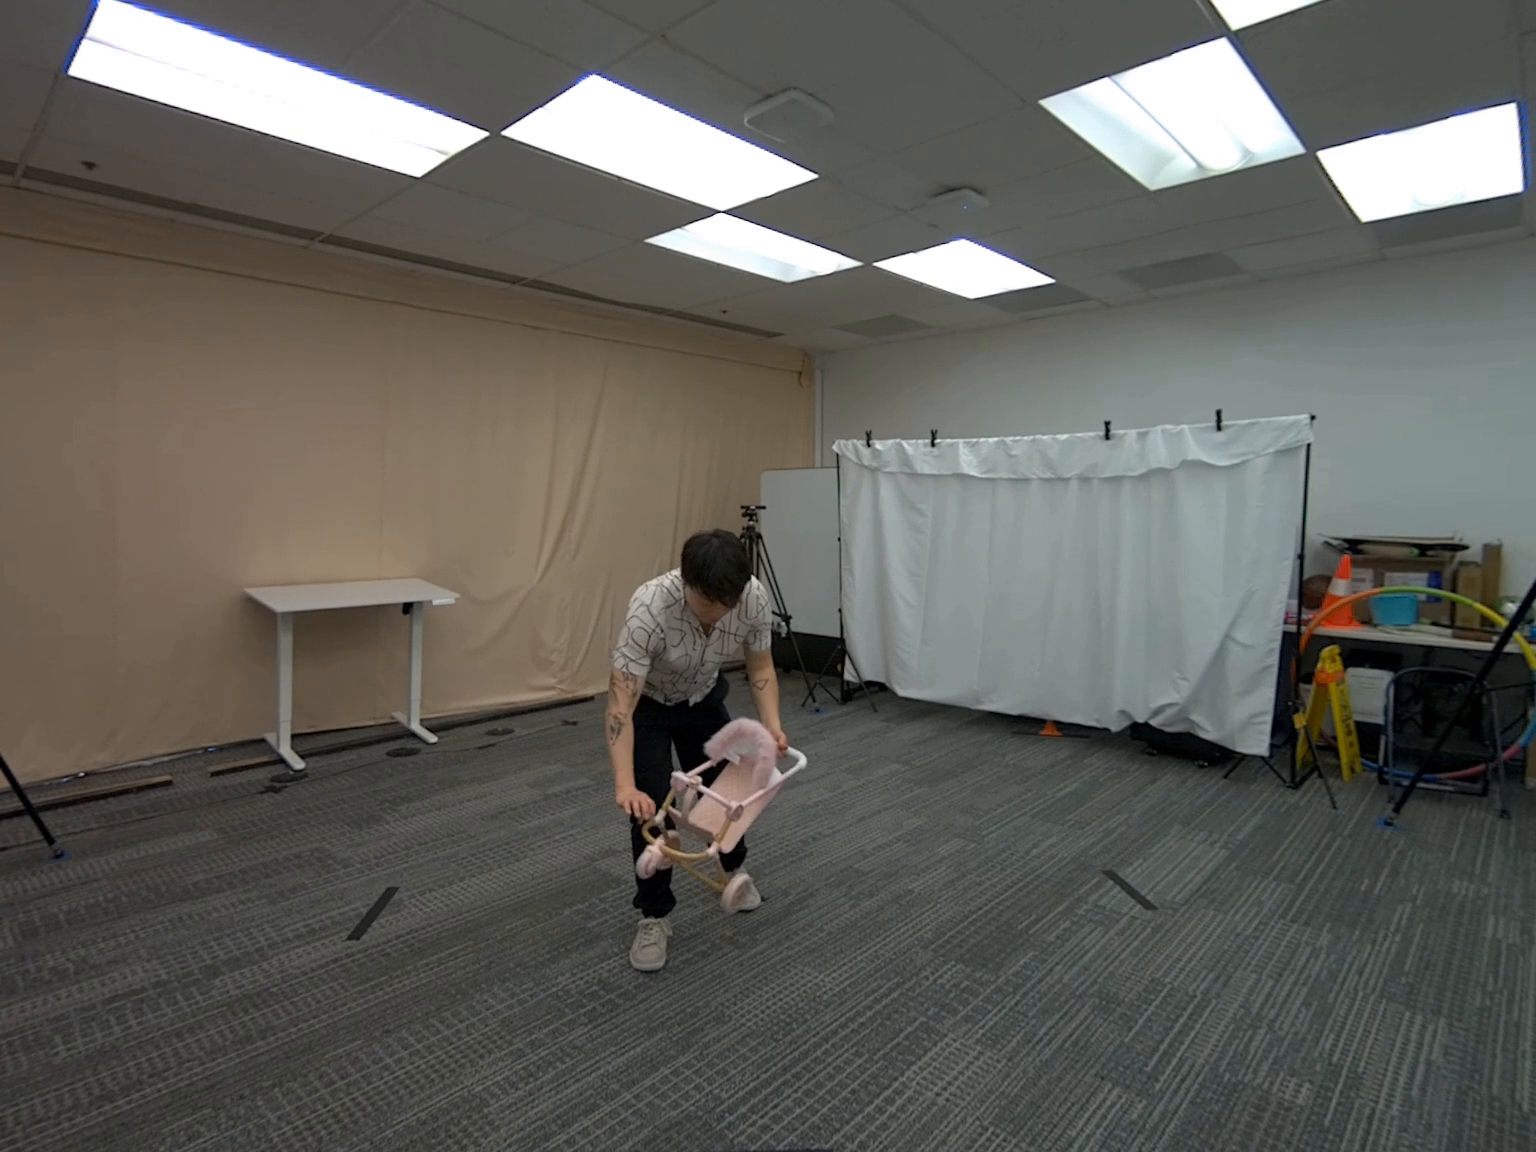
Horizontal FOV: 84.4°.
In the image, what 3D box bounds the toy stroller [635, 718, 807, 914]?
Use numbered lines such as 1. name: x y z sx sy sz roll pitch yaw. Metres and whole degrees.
1. toy stroller: -0.132 0.622 2.267 0.291 0.534 0.330 16 -27 38
